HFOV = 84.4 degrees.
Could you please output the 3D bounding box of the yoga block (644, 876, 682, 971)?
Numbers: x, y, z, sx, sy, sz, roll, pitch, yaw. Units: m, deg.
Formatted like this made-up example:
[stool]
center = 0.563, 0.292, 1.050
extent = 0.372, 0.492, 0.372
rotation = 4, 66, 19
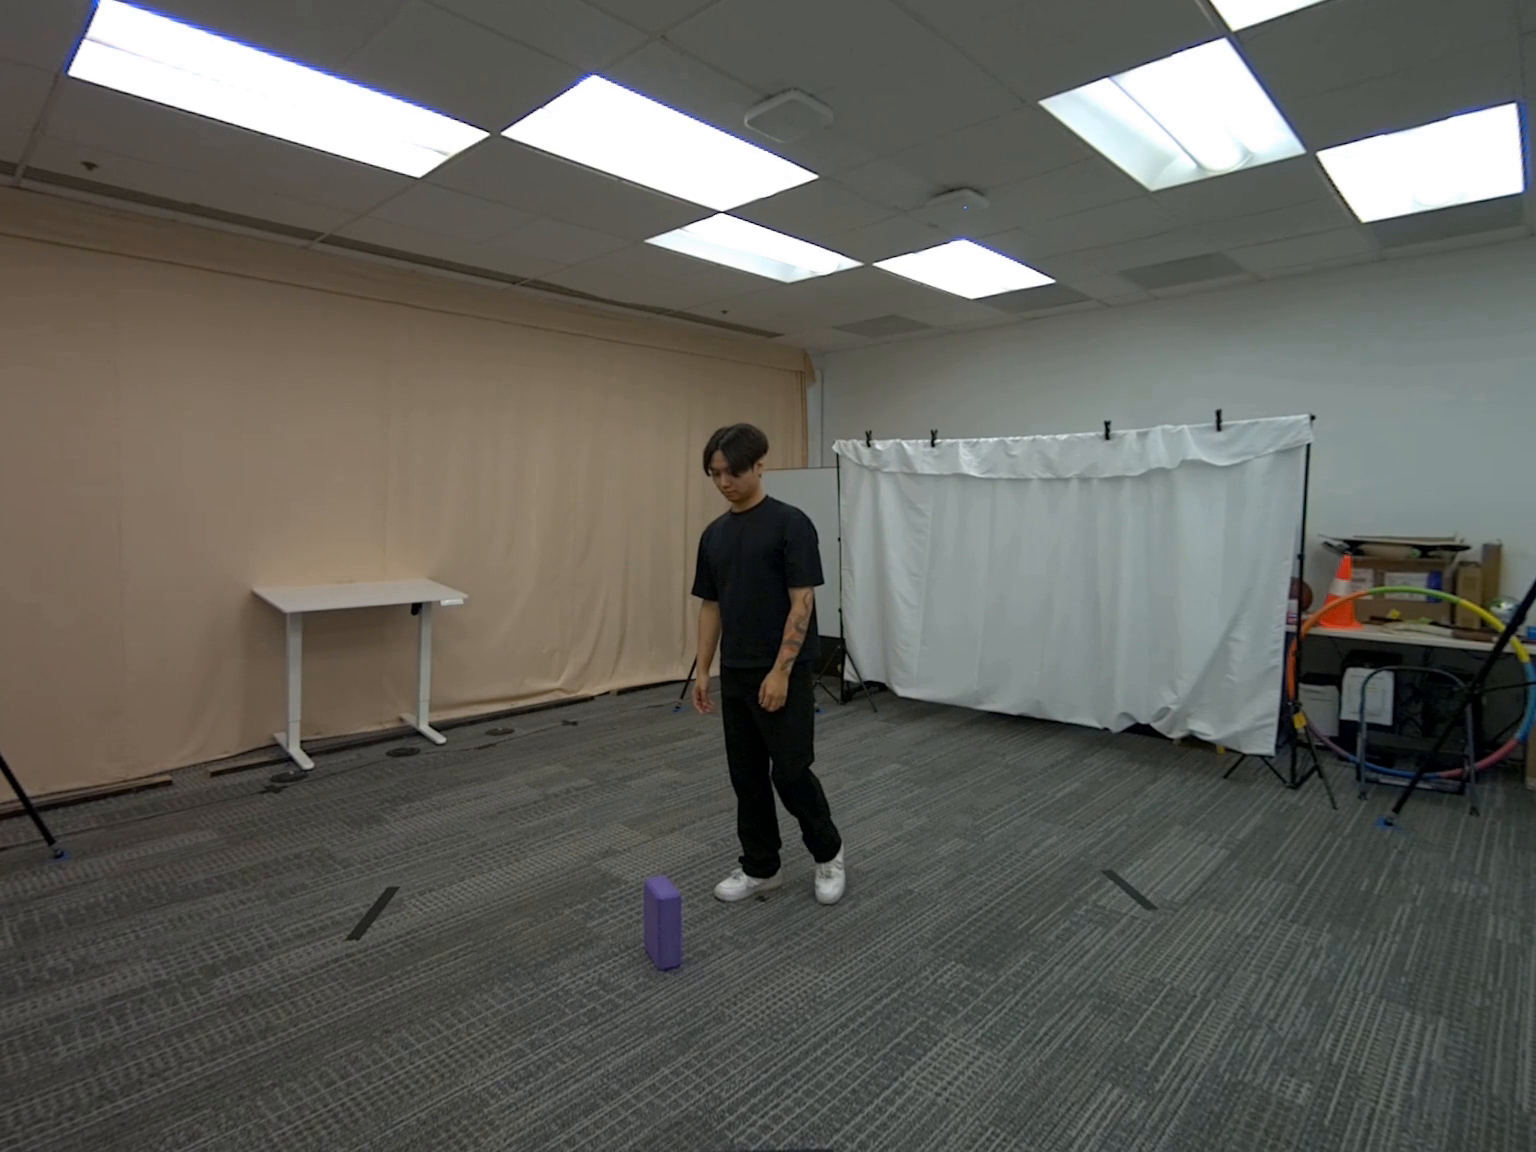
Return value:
[yoga block]
center = -0.323, 1.063, 2.585
extent = 0.074, 0.229, 0.153
rotation = -2, 4, -26
